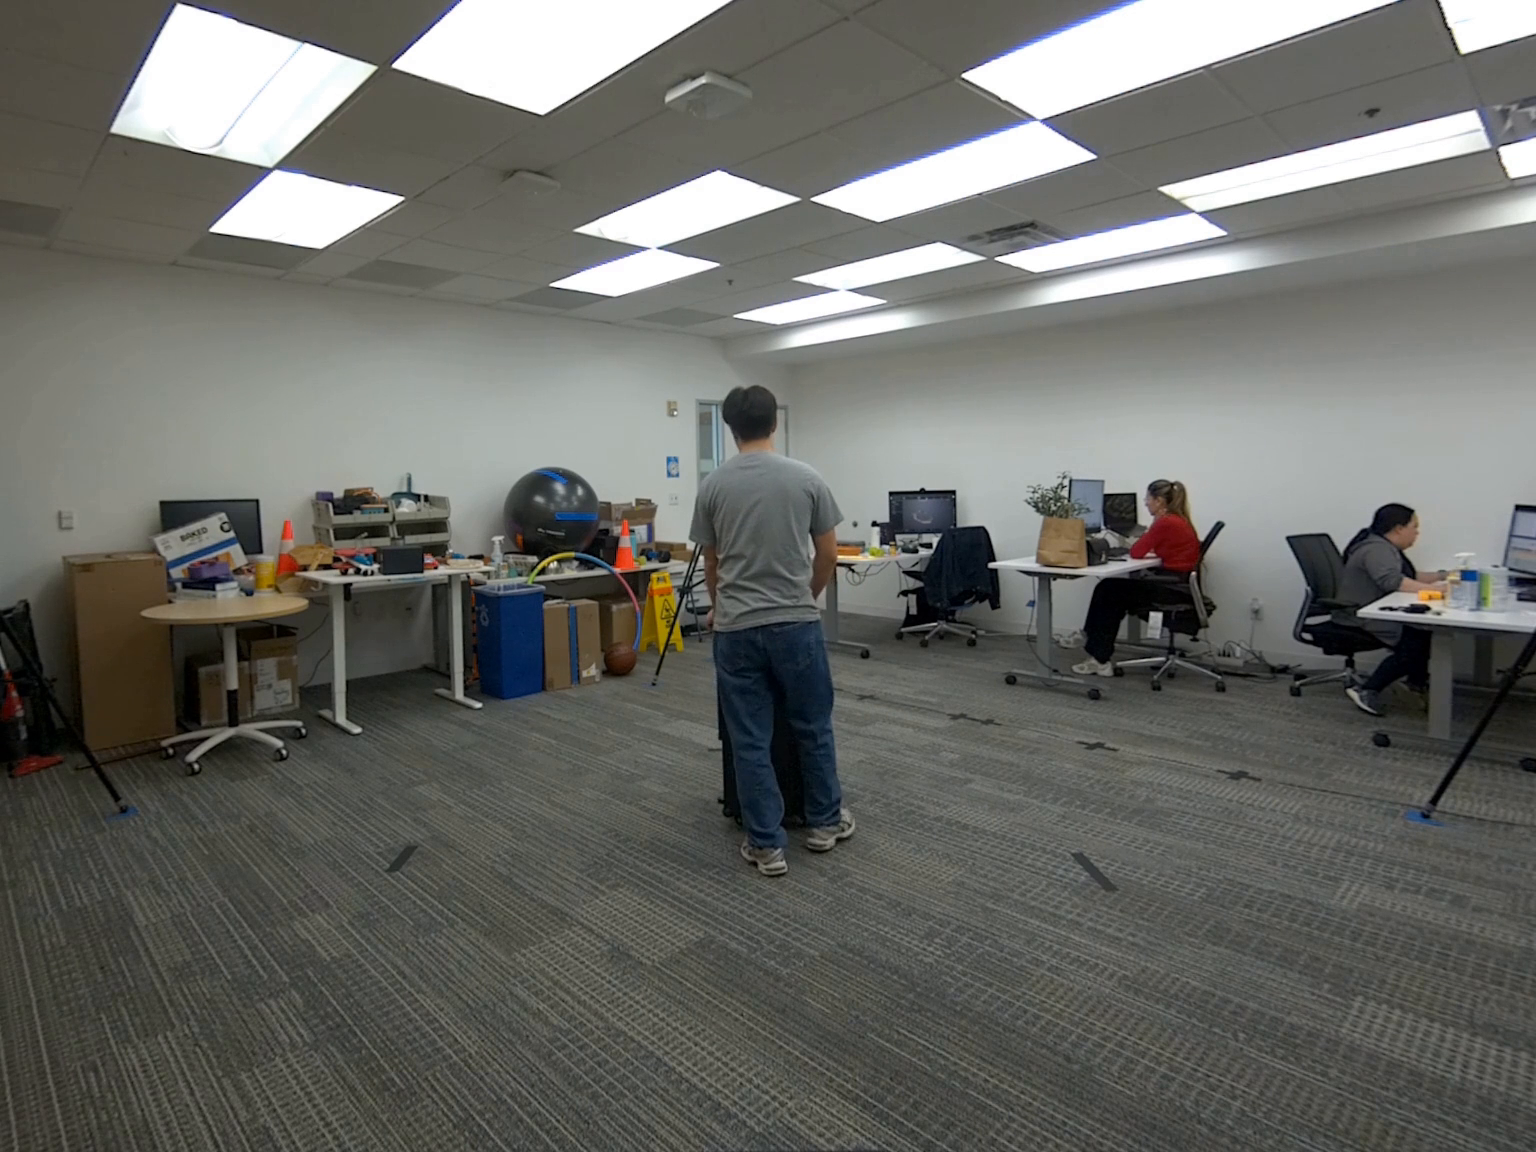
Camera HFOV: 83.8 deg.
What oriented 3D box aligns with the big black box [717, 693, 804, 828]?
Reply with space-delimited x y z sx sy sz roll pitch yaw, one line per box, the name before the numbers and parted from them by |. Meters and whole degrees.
big black box | -0.013 0.569 3.574 0.397 0.859 0.522 -1 4 2
